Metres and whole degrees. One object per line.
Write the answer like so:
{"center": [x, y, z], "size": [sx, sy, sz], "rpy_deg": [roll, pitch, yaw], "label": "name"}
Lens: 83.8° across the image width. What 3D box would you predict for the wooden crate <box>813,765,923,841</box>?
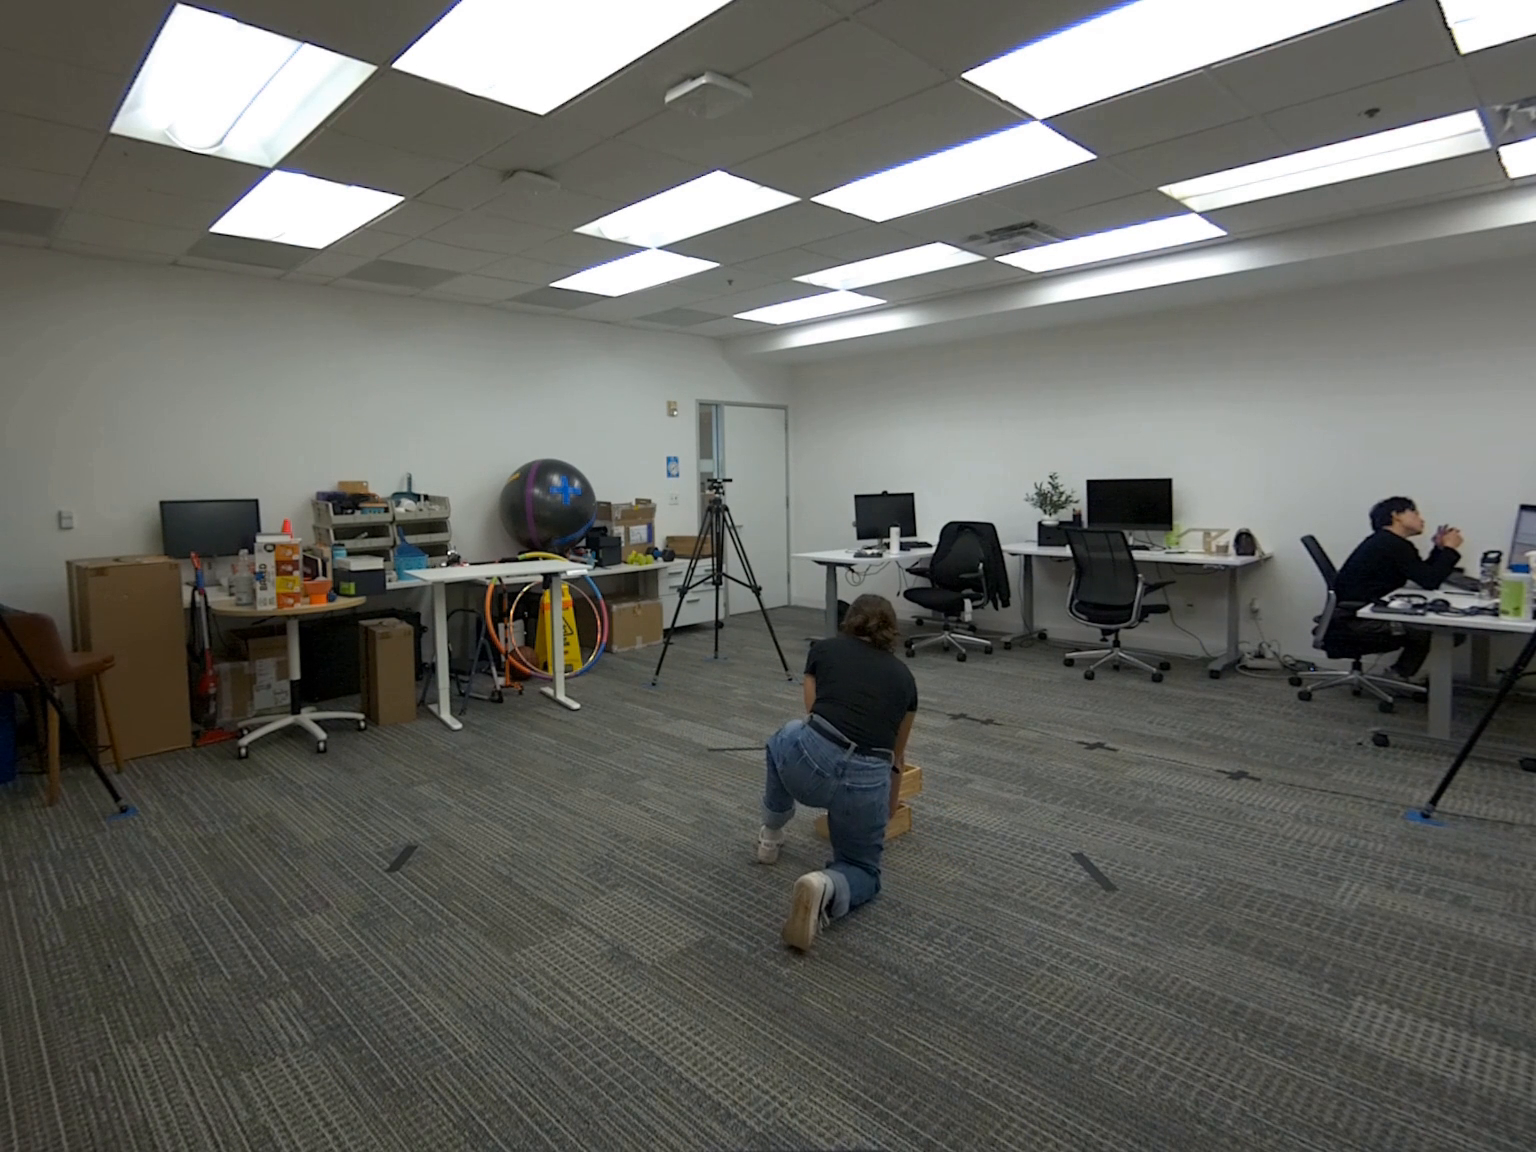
{"center": [0.397, 0.880, 3.355], "size": [0.316, 0.272, 0.311], "rpy_deg": [-6, 7, -44], "label": "wooden crate"}
